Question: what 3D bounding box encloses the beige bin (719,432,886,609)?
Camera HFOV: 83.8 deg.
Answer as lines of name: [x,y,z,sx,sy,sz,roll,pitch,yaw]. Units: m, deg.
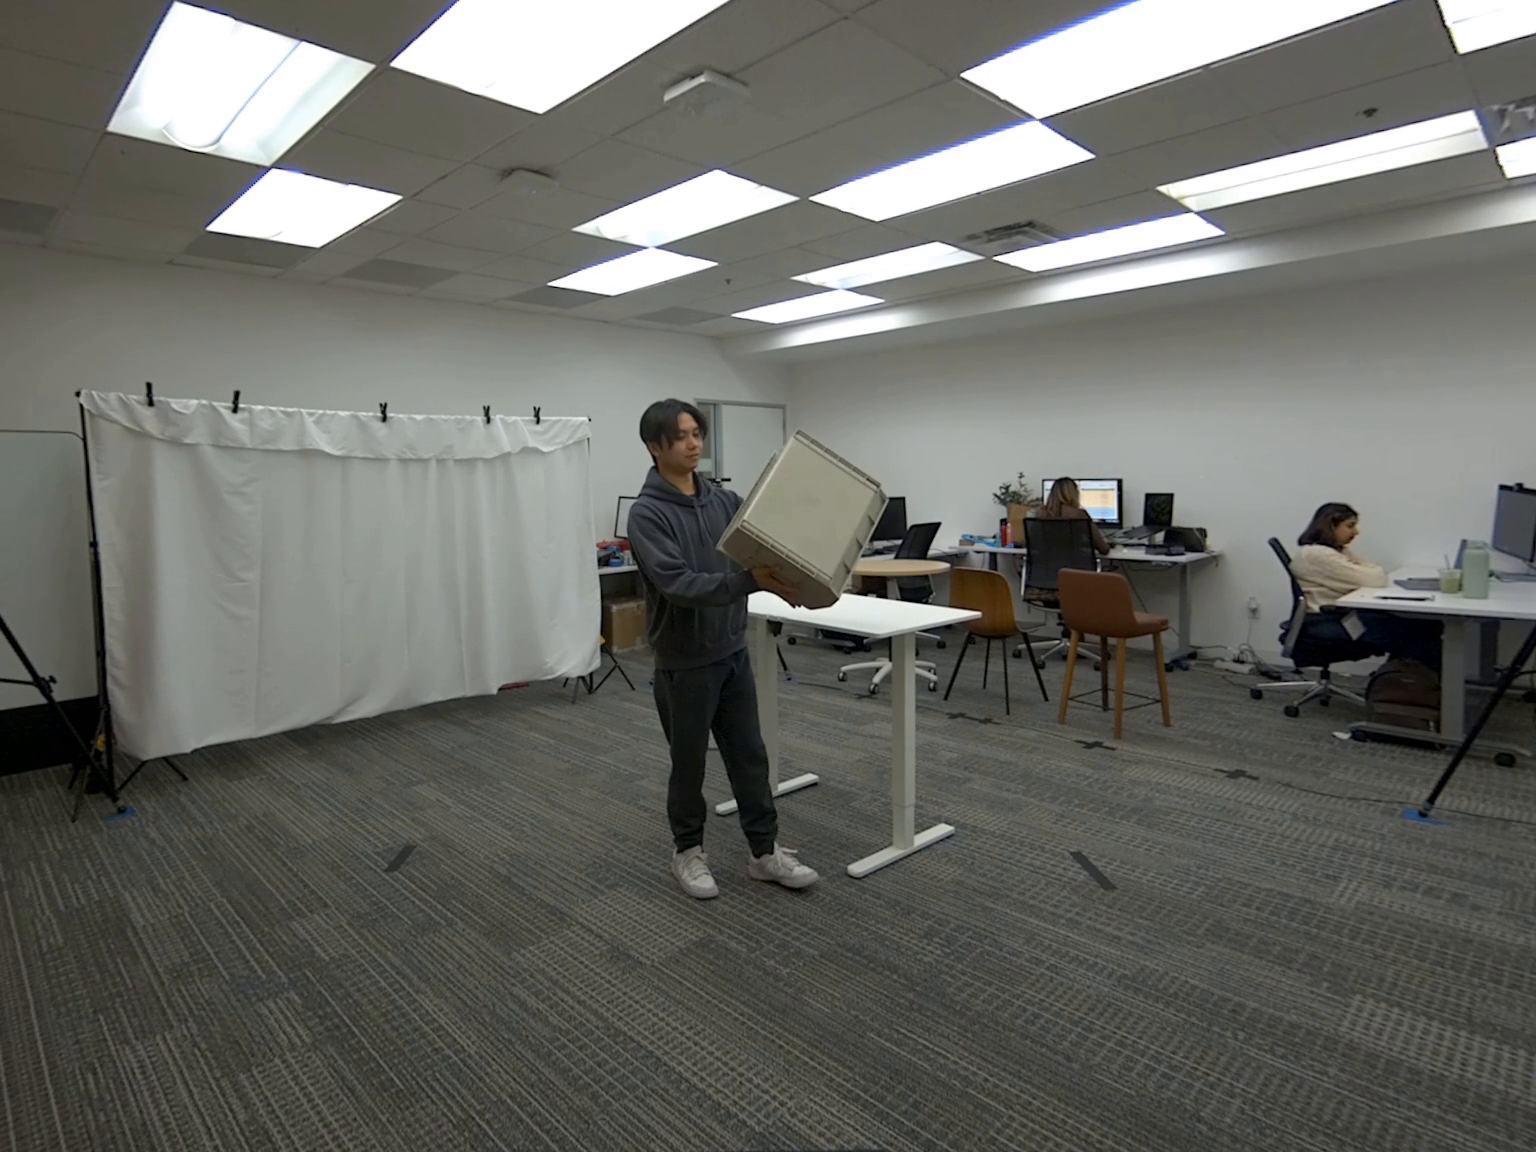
beige bin: [0.121,-0.168,2.617,0.376,0.425,0.188,33,-29,-4]
